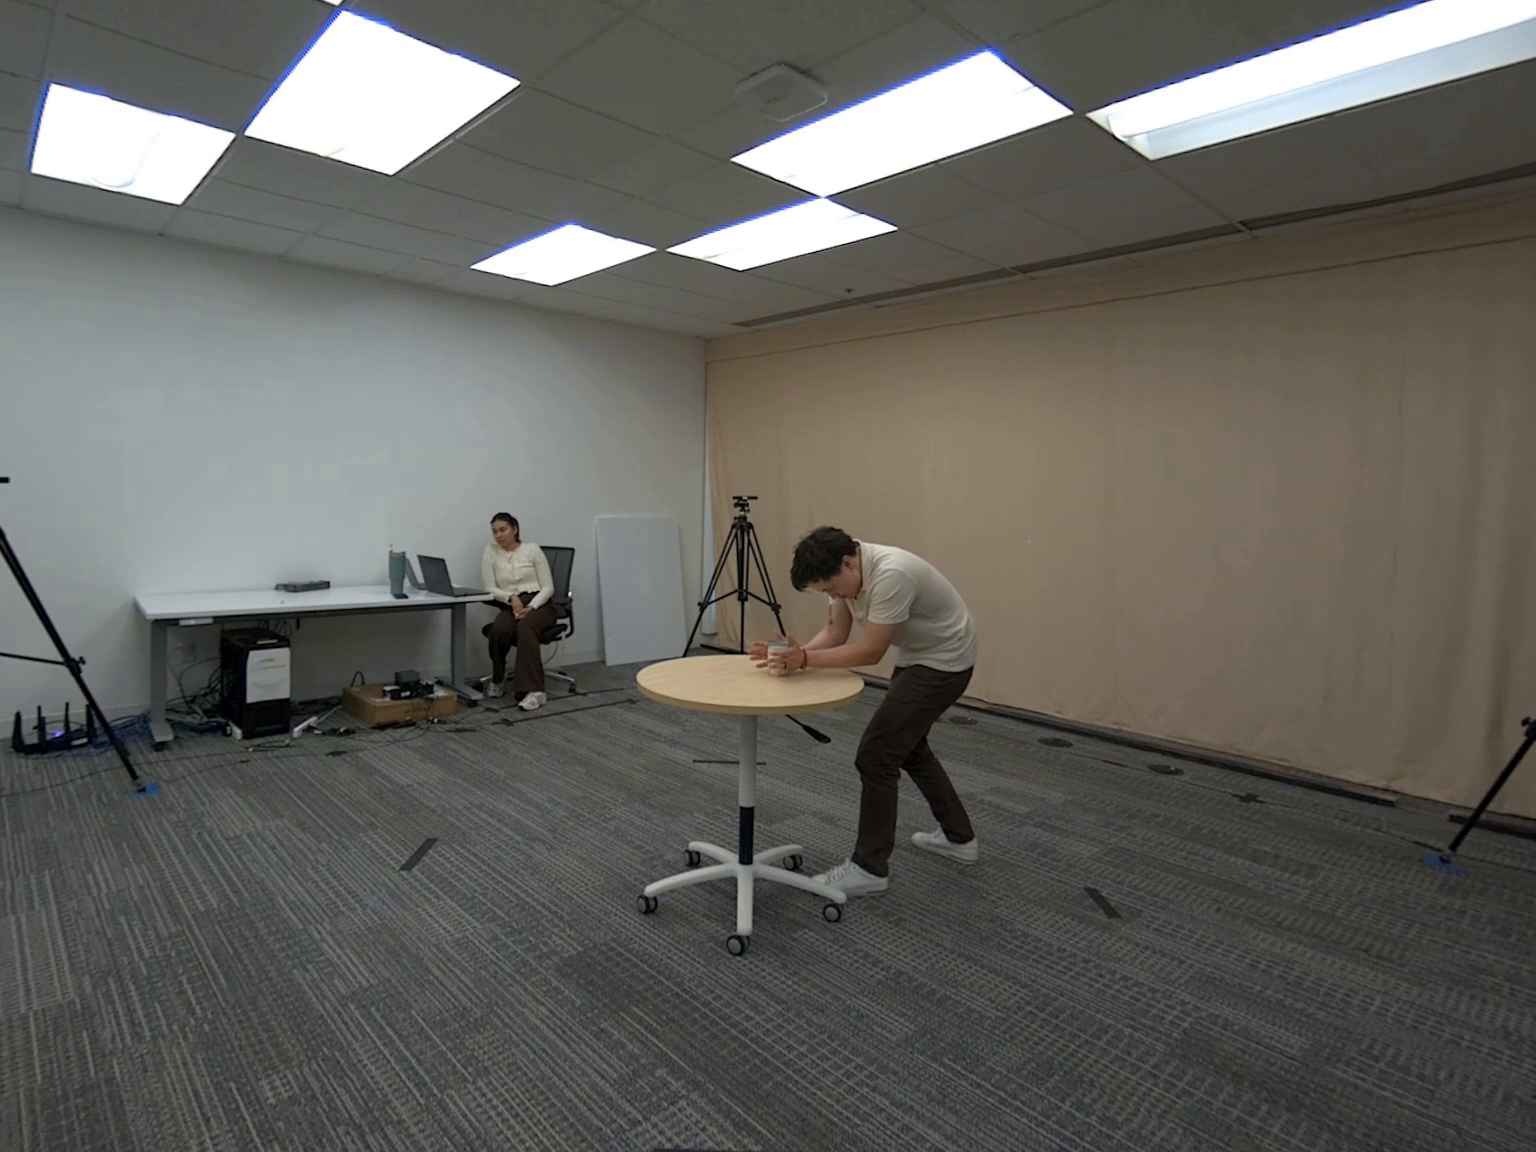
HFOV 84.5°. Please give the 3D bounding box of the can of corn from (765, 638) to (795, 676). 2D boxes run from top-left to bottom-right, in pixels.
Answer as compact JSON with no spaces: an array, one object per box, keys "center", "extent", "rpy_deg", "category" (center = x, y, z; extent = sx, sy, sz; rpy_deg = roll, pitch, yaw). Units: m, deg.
[{"center":[0.024,0.284,2.894],"extent":[0.074,0.111,0.074],"rpy_deg":[1,1,-1],"category":"can of corn"}]
